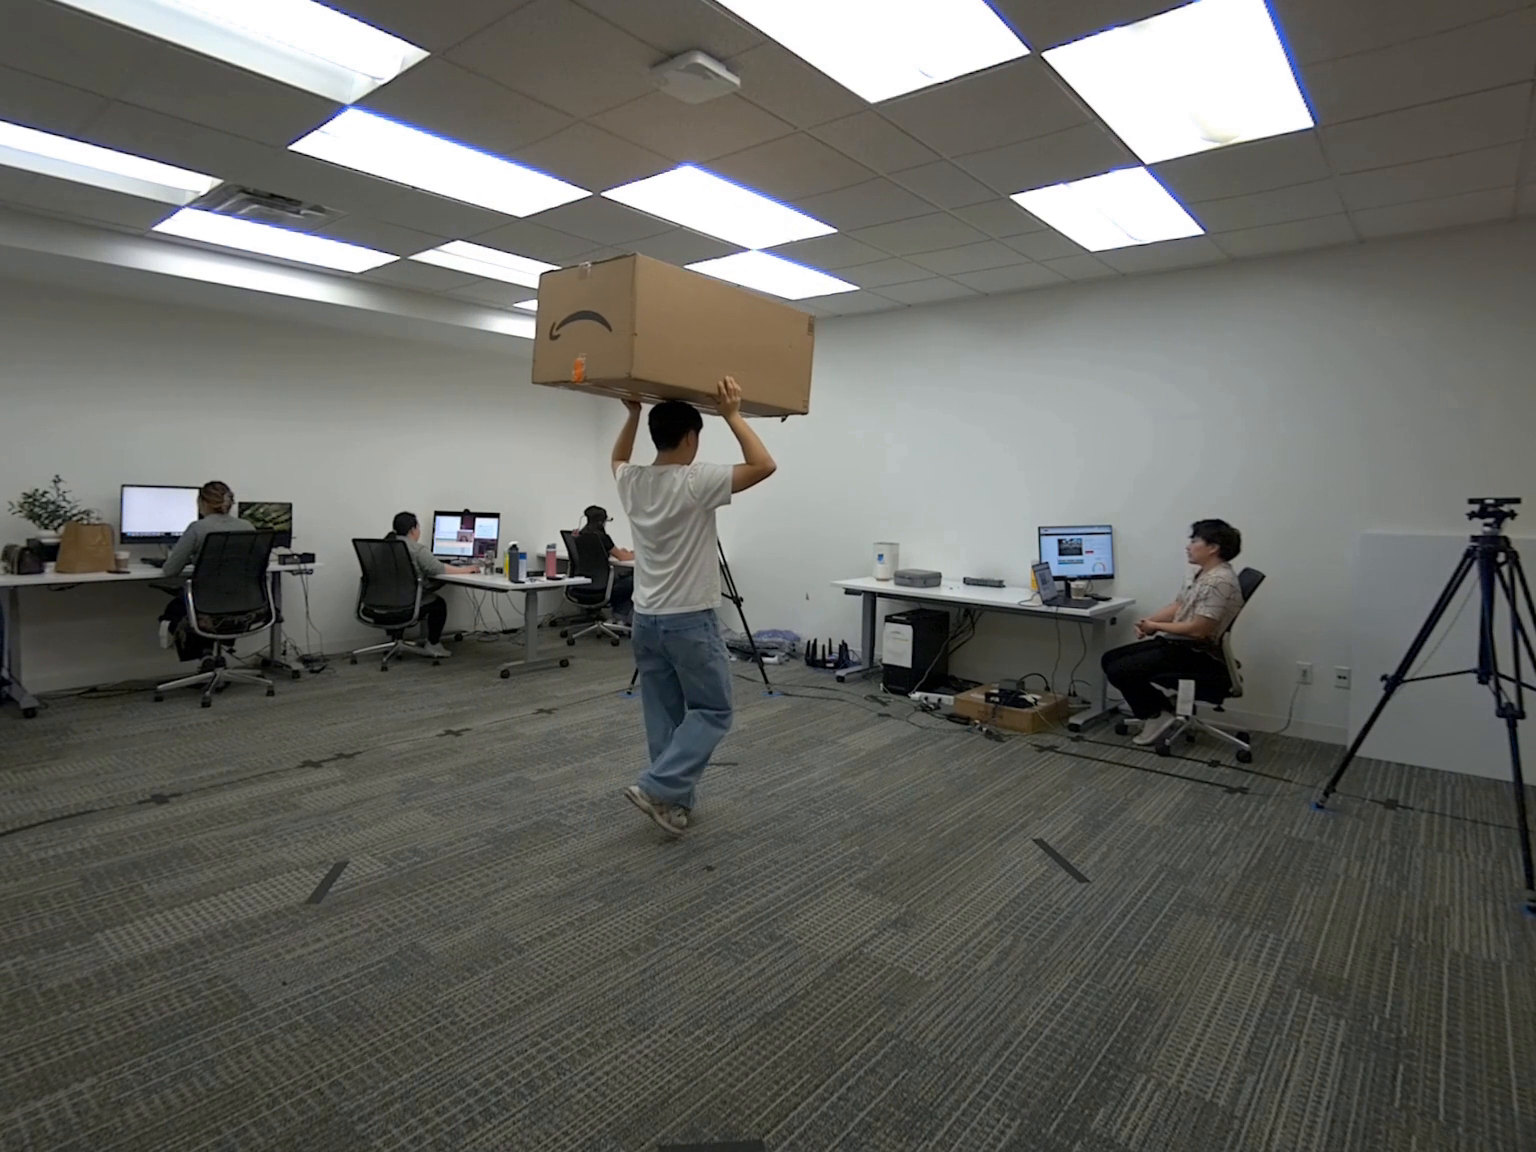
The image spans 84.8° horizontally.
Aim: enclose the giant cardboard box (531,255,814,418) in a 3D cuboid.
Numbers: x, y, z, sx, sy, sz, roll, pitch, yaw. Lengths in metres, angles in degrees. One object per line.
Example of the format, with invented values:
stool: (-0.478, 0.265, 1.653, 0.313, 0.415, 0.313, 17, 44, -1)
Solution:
giant cardboard box: (-0.364, -0.921, 3.430, 0.598, 0.425, 0.994, 8, 6, 41)
